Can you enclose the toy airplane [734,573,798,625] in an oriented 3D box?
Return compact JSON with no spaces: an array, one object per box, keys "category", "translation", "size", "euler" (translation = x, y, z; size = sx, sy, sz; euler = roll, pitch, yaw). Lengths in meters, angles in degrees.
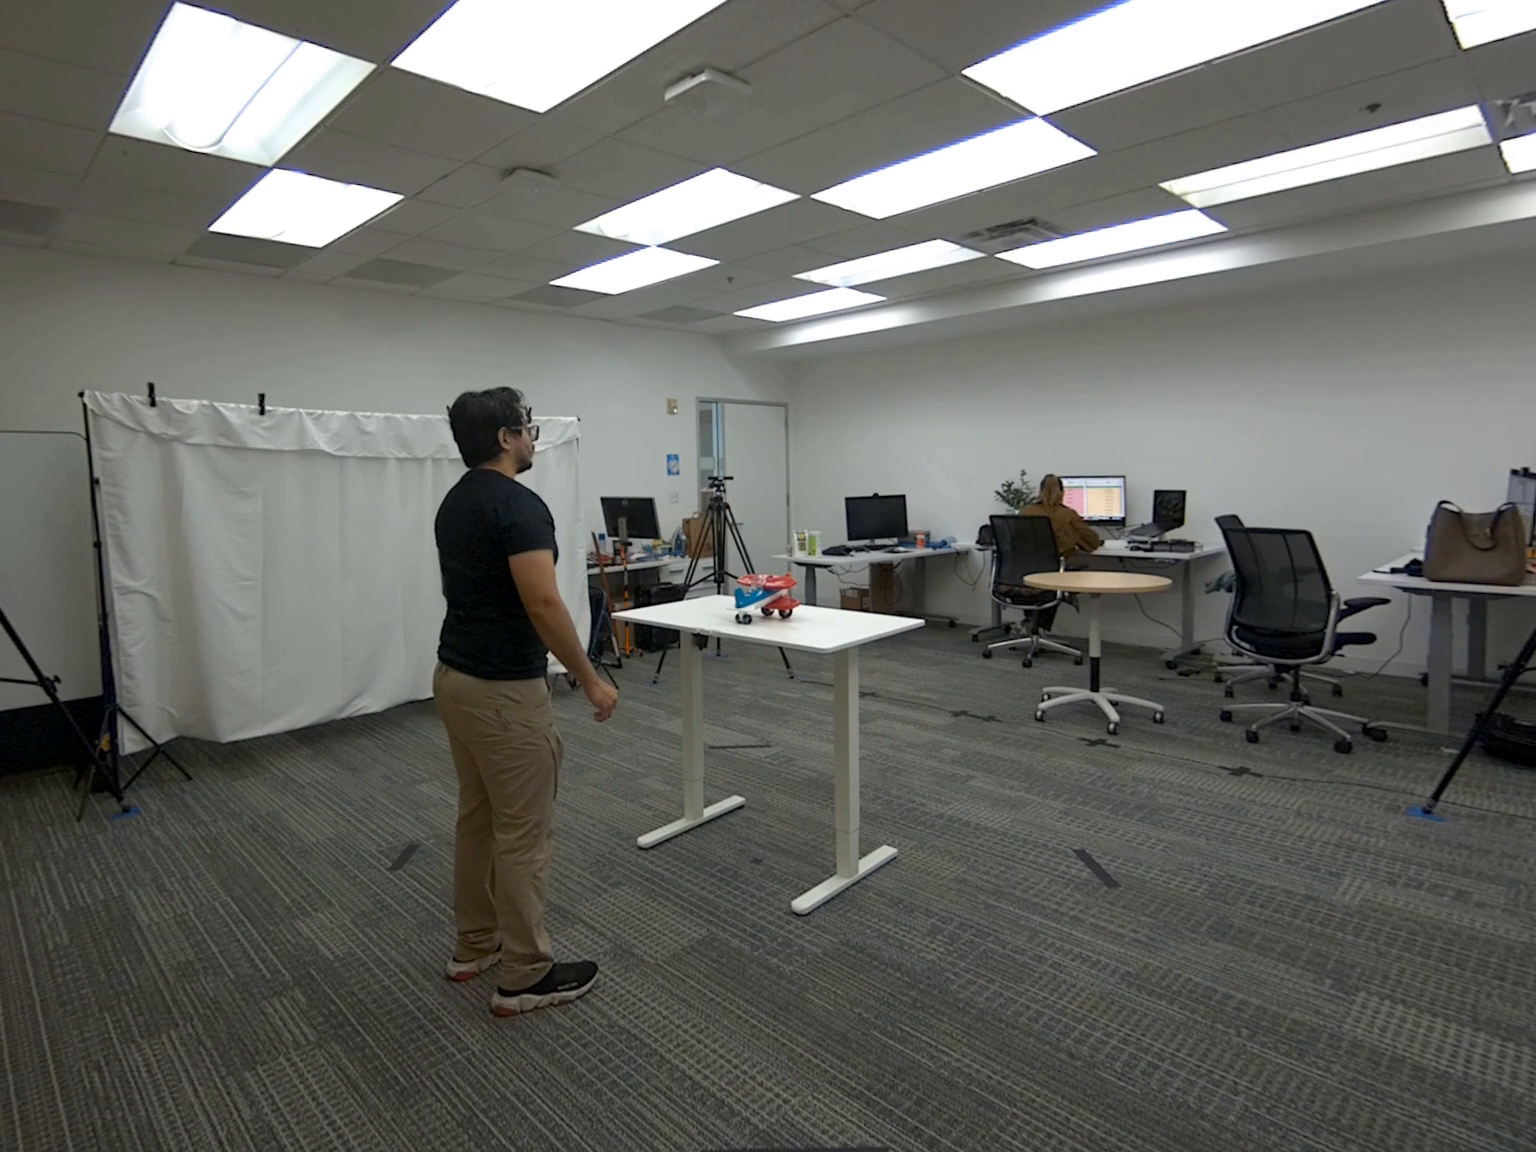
[{"category":"toy airplane","translation":[-0.008,0.082,3.047],"size":[0.255,0.156,0.256],"euler":[0,6,15]}]
